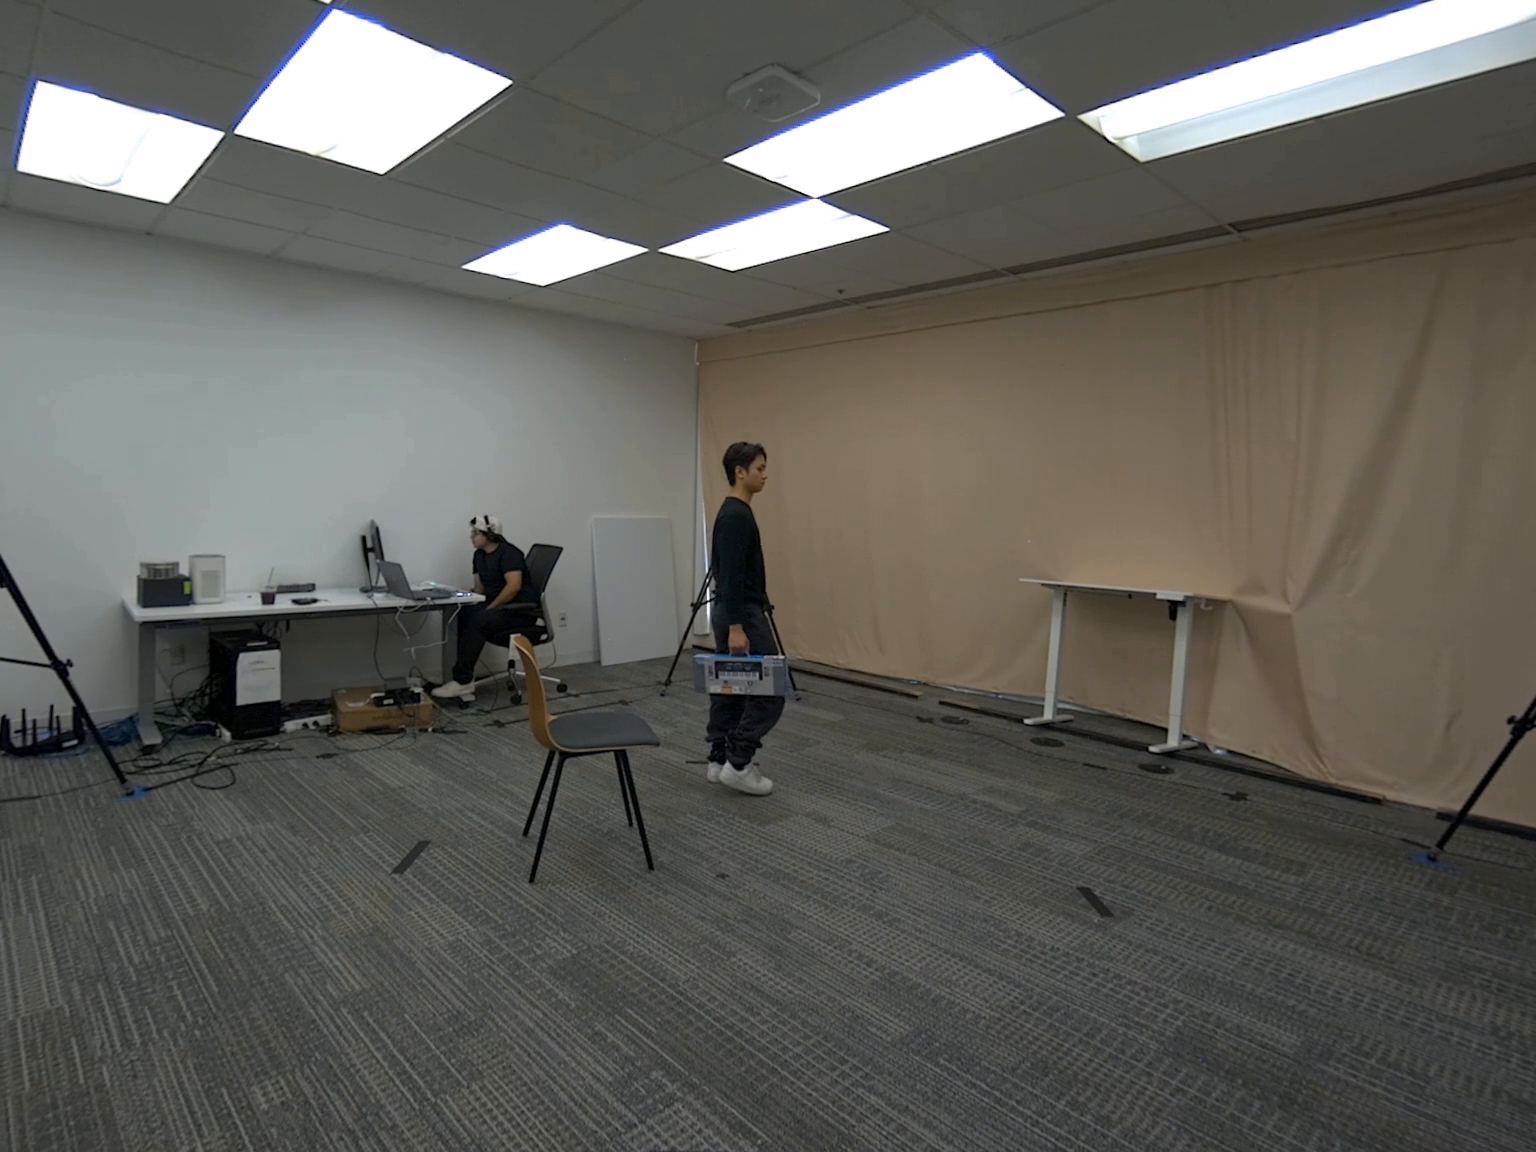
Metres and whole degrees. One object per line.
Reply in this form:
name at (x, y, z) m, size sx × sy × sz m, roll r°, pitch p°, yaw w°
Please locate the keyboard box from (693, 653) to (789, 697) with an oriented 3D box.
keyboard box at (-0.142, 0.452, 3.859) m, size 0.442 × 0.175 × 0.058 m, roll 0°, pitch 6°, yaw 15°
